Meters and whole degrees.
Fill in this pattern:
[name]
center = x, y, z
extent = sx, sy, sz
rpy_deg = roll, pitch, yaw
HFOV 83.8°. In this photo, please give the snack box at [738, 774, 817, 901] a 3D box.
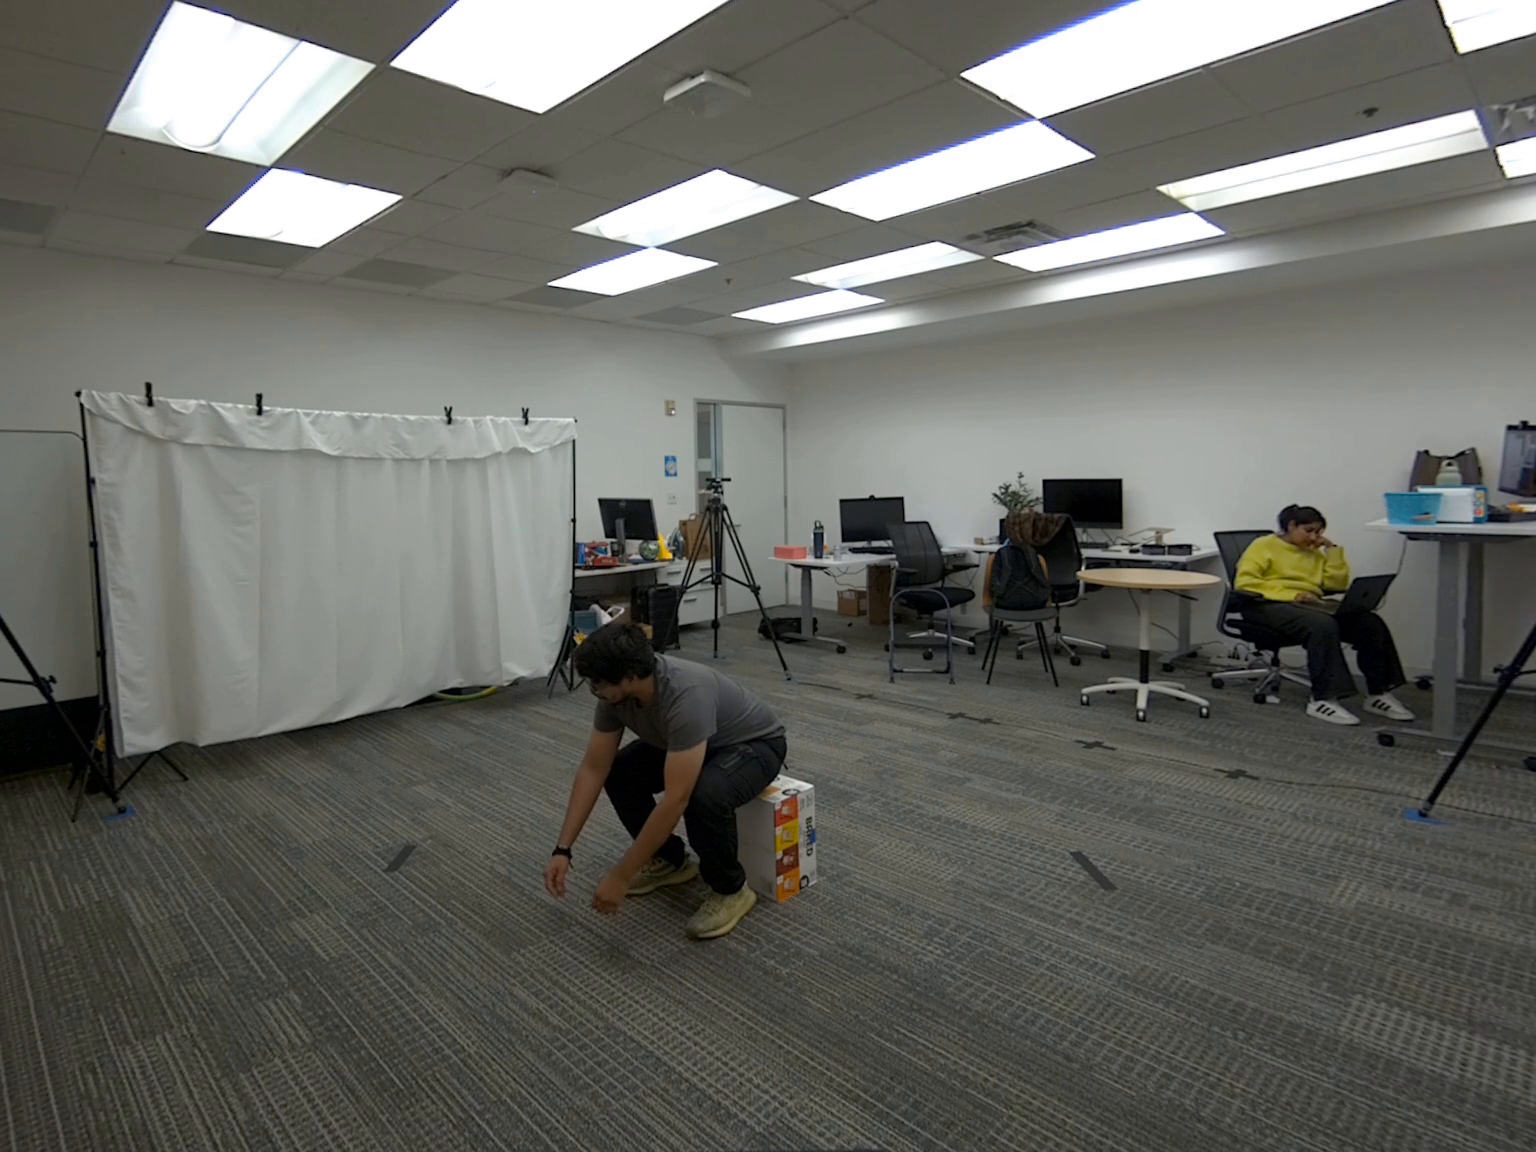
[snack box]
center = -0.046, 0.883, 3.015
extent = 0.417, 0.339, 0.200
rpy_deg = 4, 7, 44
